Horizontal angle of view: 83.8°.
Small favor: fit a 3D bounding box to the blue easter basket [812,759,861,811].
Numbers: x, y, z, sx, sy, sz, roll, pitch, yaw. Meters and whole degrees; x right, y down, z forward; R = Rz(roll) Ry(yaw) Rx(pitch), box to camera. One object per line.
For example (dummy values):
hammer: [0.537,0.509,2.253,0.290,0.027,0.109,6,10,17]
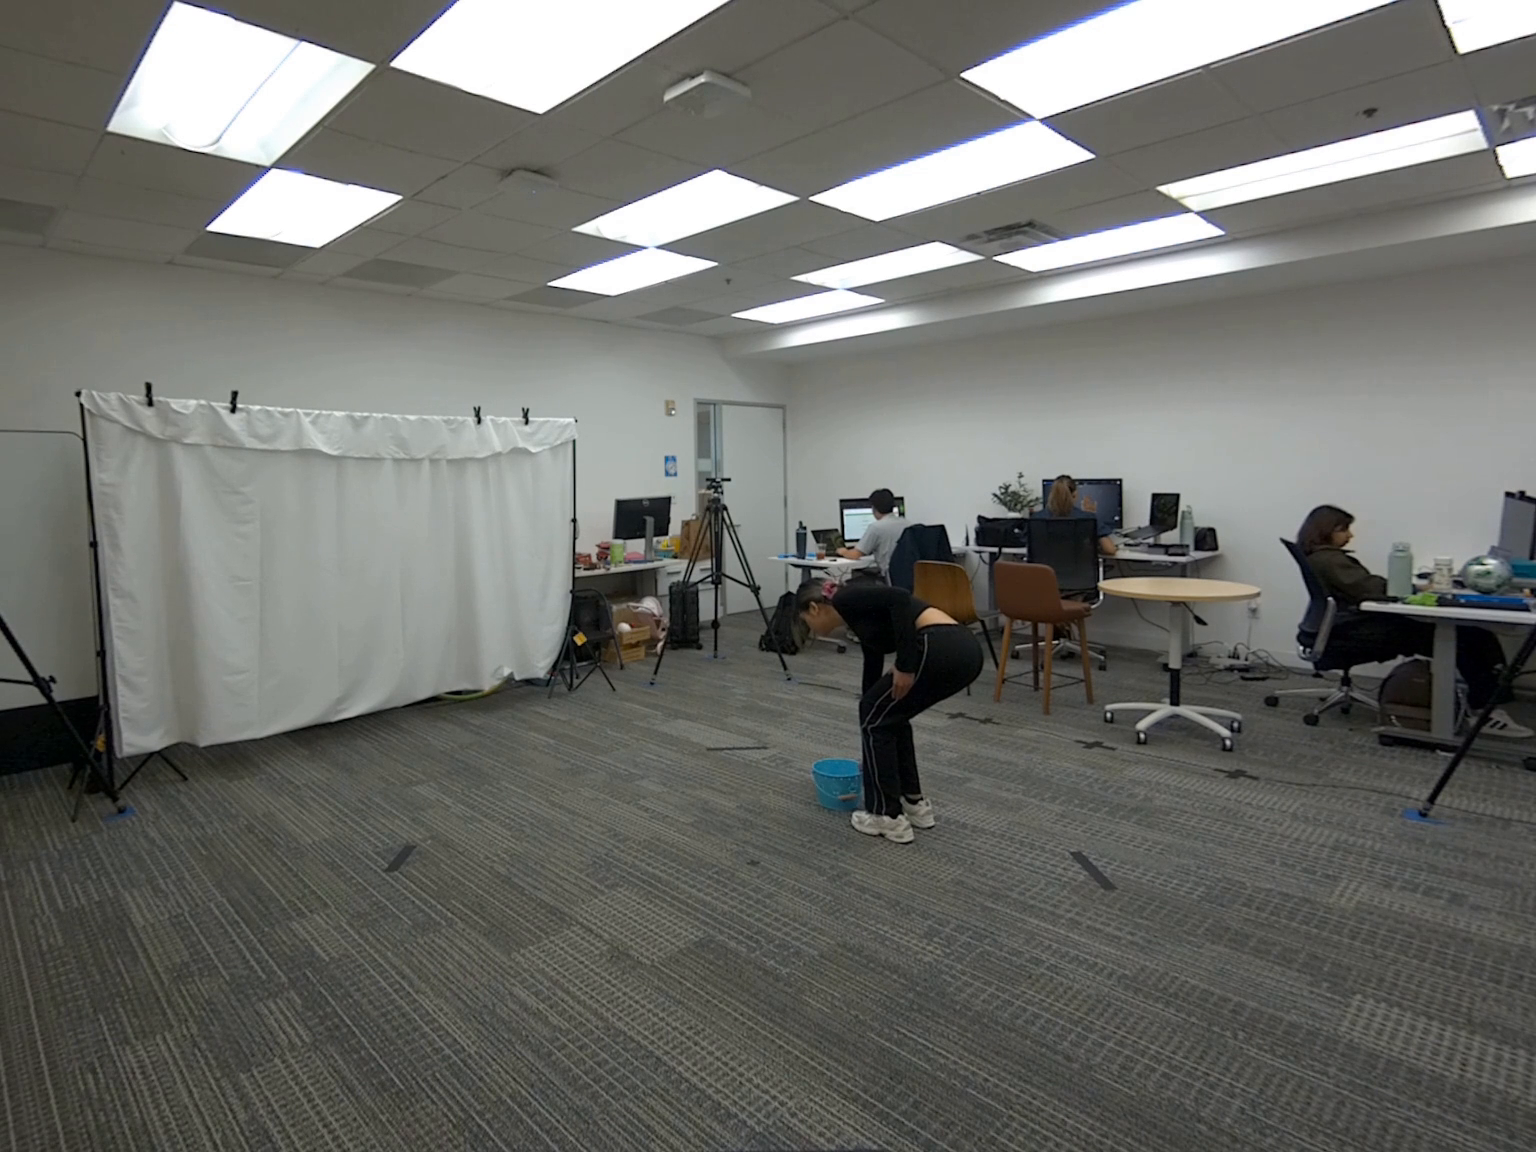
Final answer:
blue easter basket: [0.315,0.893,3.667,0.243,0.155,0.245,-1,5,-2]
